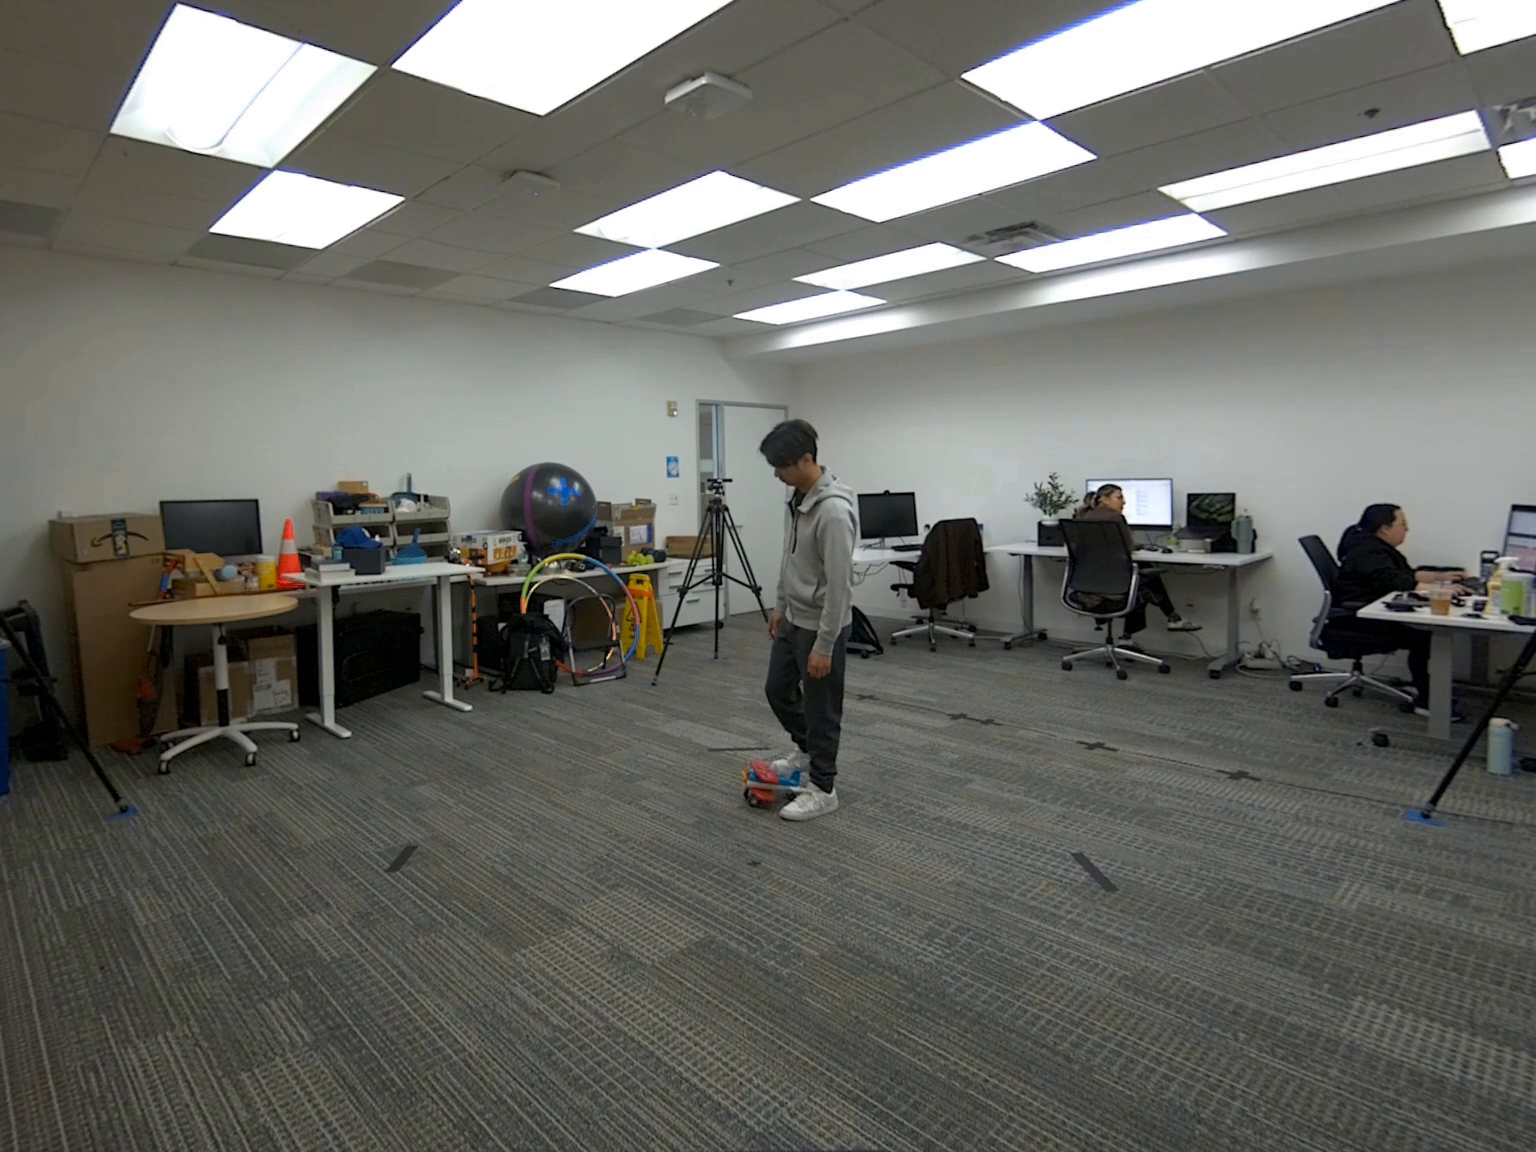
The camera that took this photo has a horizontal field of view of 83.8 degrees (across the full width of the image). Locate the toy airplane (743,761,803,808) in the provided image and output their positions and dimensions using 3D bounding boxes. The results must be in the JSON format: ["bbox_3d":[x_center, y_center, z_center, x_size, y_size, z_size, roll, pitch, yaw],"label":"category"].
[{"bbox_3d":[0.008,0.901,3.715,0.253,0.156,0.258,-7,6,-39],"label":"toy airplane"}]
